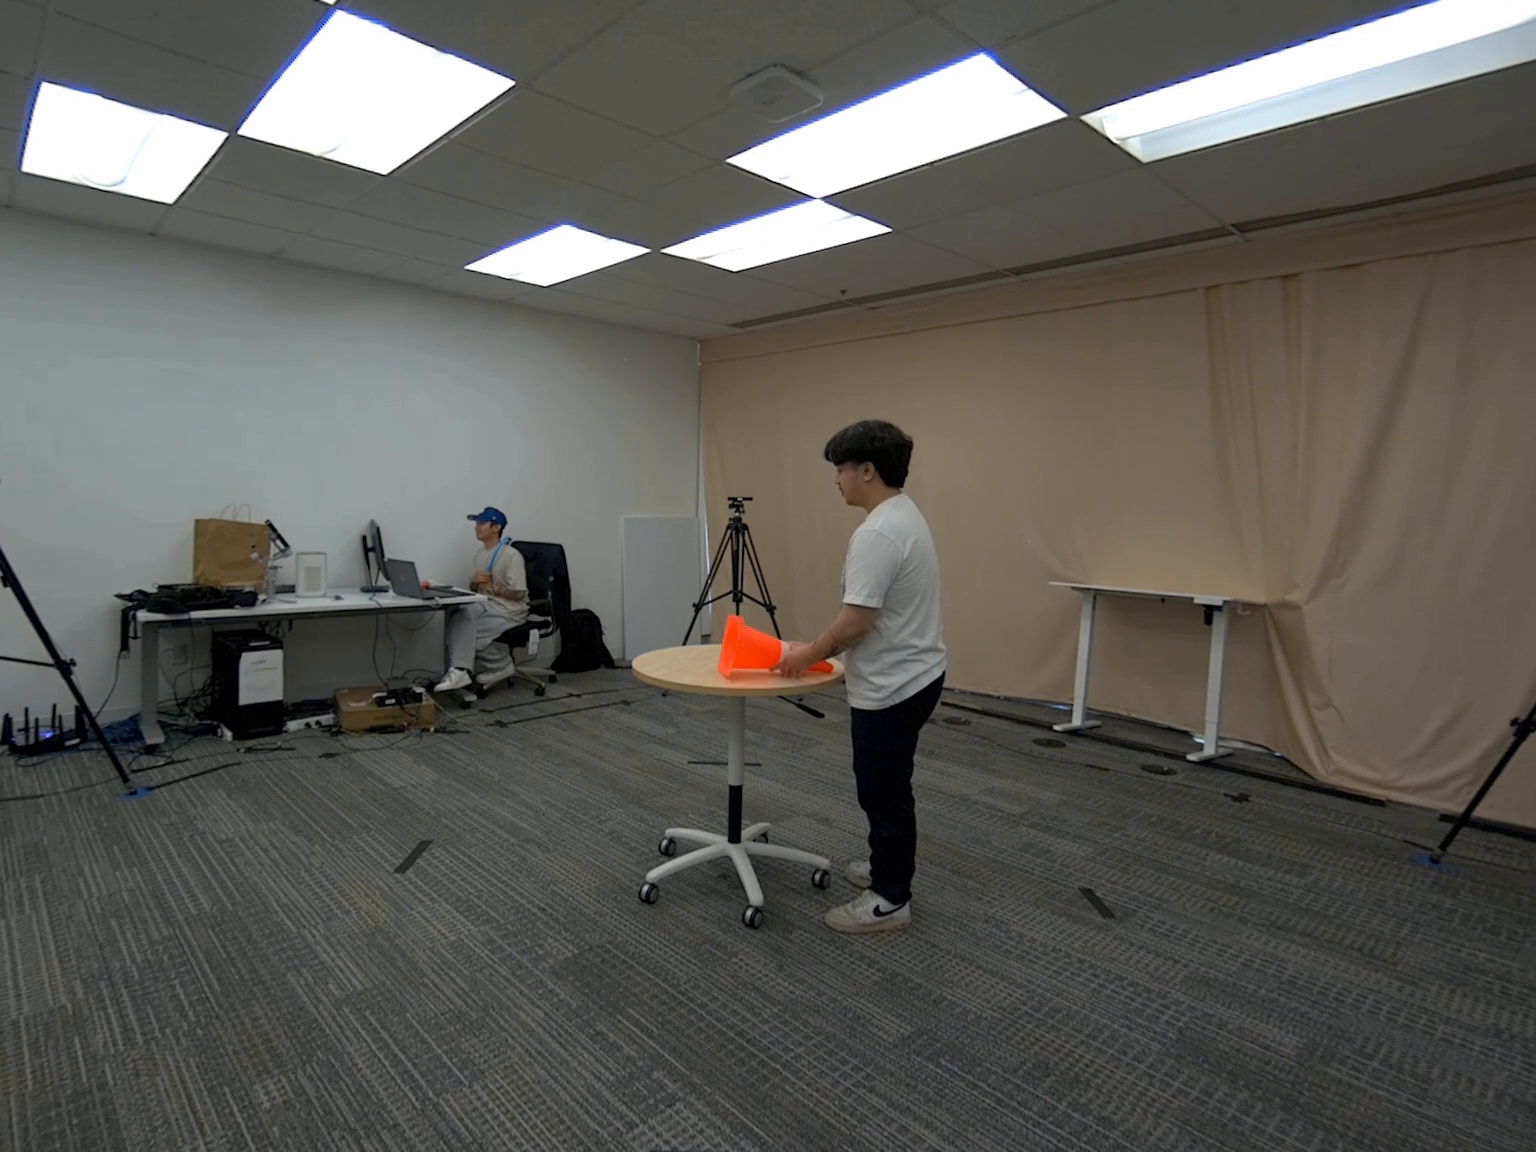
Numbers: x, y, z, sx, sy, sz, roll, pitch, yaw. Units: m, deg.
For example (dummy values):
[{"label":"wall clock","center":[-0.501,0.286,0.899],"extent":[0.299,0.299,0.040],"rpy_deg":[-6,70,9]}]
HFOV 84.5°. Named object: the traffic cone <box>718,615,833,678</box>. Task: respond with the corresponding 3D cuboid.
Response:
[{"label":"traffic cone","center":[0.048,0.280,2.880],"extent":[0.379,0.204,0.207],"rpy_deg":[15,-5,-14]}]
